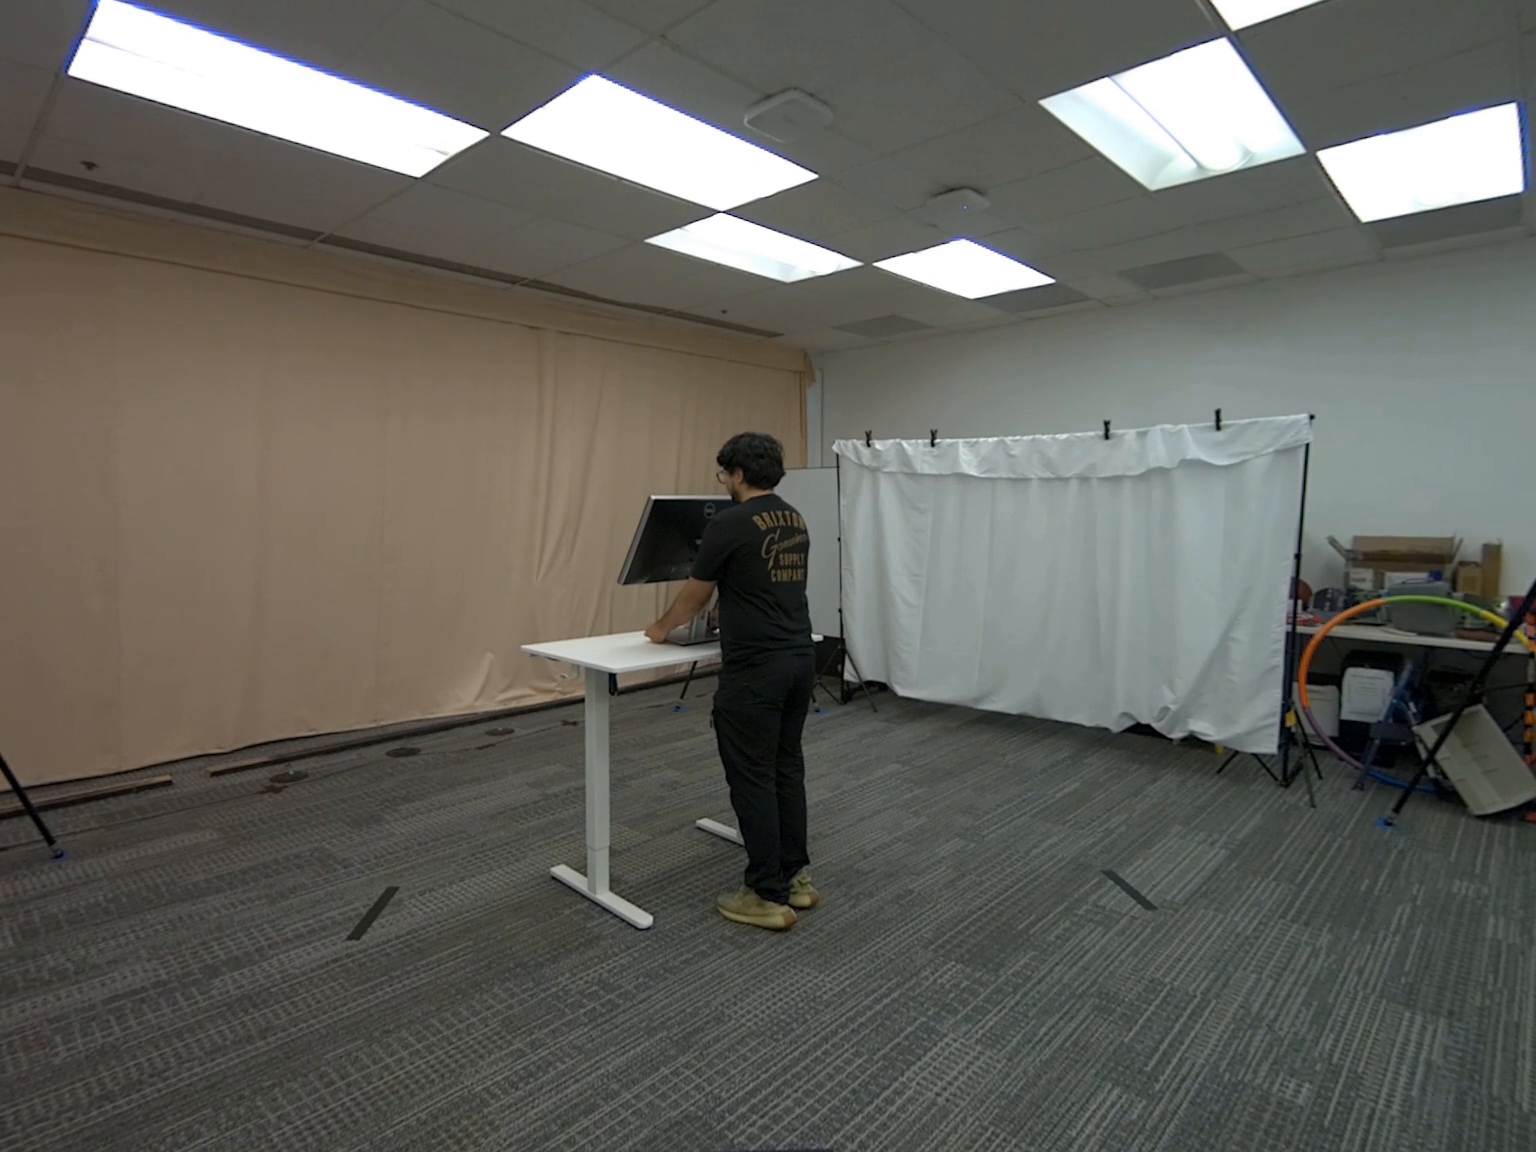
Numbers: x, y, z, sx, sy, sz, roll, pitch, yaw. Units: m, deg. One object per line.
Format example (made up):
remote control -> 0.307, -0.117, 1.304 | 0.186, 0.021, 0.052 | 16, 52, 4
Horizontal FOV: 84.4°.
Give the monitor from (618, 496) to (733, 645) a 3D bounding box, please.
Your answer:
monitor -> -0.258, -0.024, 3.142 | 0.218, 0.551, 0.548 | 30, 22, 35
